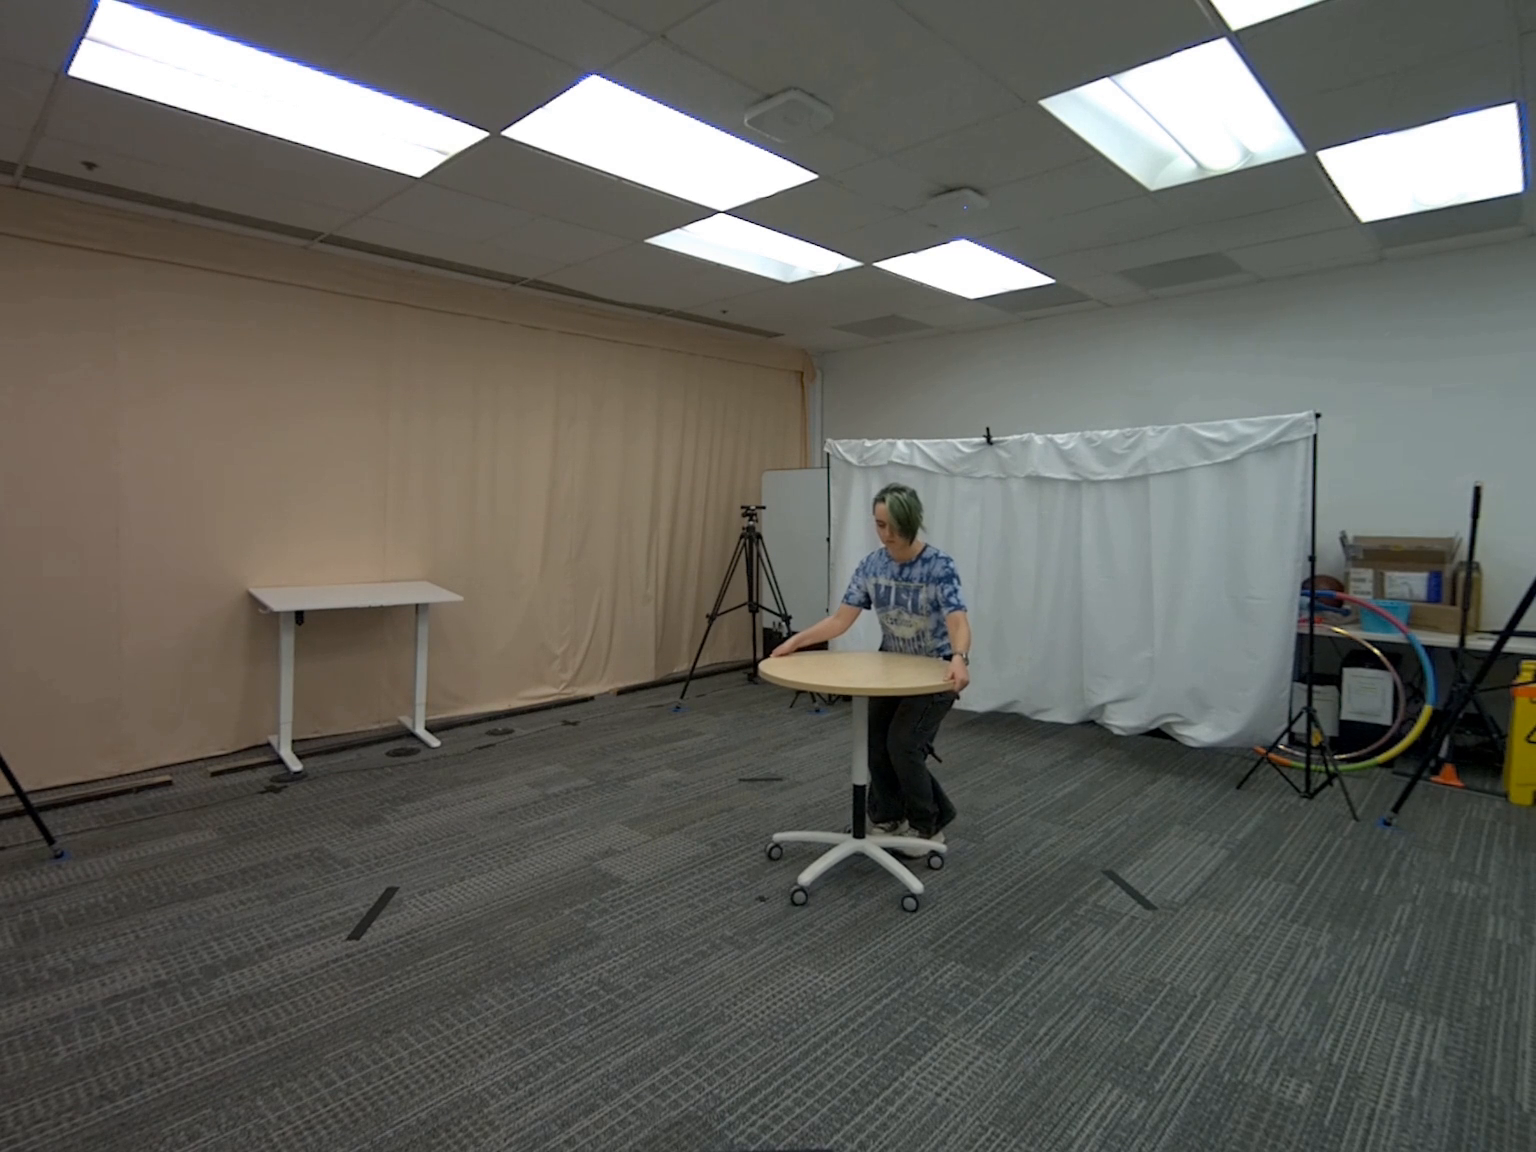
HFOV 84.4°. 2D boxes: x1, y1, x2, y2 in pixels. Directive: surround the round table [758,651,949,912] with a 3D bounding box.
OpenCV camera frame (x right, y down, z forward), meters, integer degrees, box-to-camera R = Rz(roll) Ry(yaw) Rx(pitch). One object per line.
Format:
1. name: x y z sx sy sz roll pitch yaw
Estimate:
1. round table: 0.341 0.737 3.159 0.763 0.792 0.766 0 3 -2
